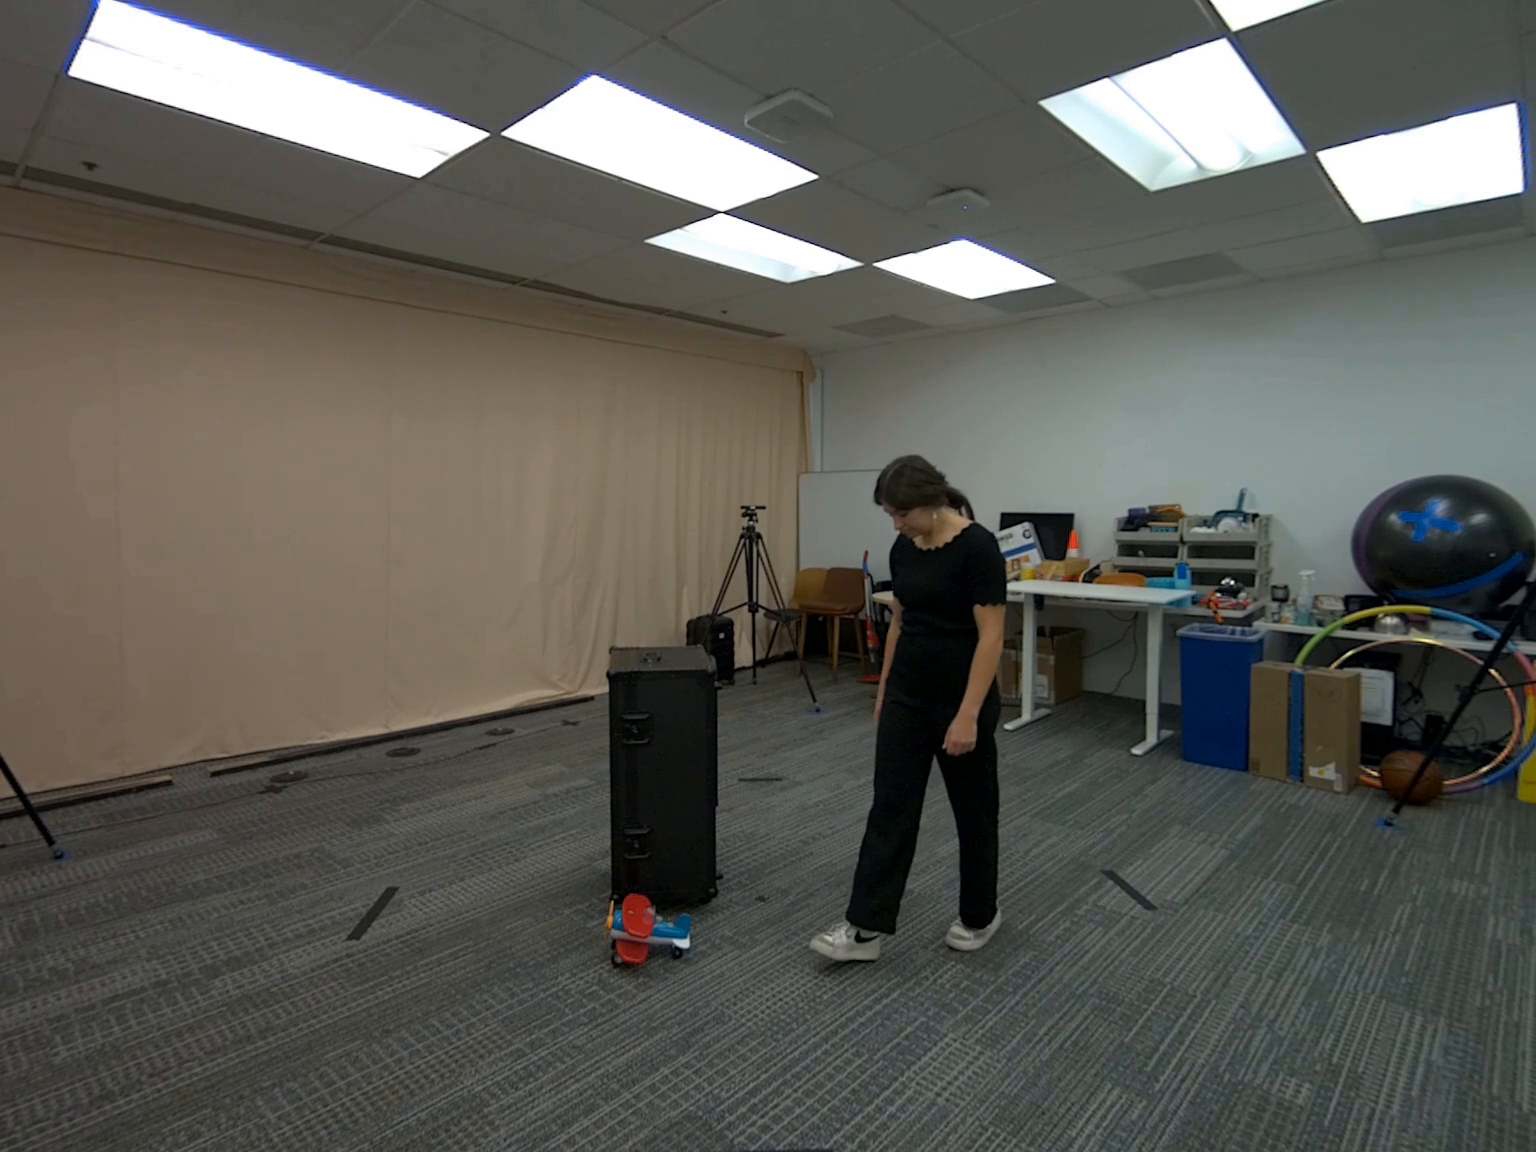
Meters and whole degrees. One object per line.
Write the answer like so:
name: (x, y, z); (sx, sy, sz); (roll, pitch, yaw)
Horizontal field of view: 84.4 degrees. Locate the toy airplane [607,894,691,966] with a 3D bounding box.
toy airplane: (-0.377, 1.098, 2.621); (0.252, 0.156, 0.259); (-5, 6, -34)
